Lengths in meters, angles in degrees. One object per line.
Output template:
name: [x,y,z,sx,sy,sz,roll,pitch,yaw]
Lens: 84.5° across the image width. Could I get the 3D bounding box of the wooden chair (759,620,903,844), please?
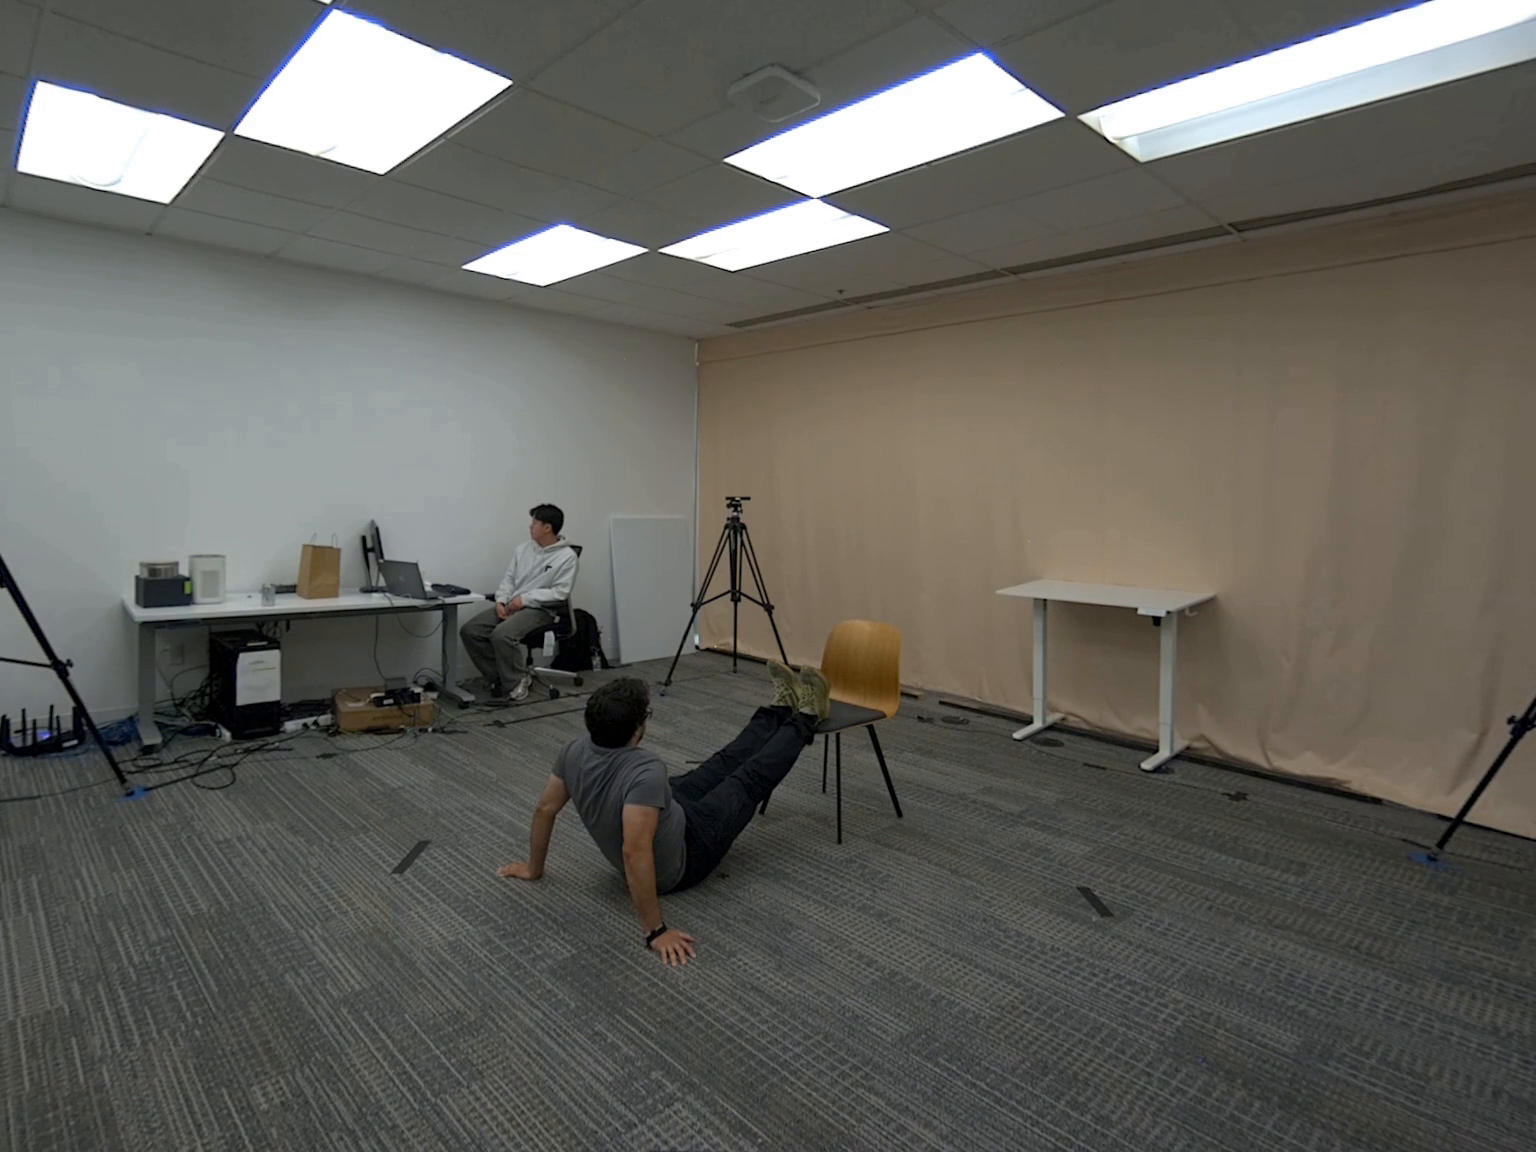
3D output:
wooden chair: [0.275,0.640,3.701,0.490,0.877,0.510,4,0,44]
